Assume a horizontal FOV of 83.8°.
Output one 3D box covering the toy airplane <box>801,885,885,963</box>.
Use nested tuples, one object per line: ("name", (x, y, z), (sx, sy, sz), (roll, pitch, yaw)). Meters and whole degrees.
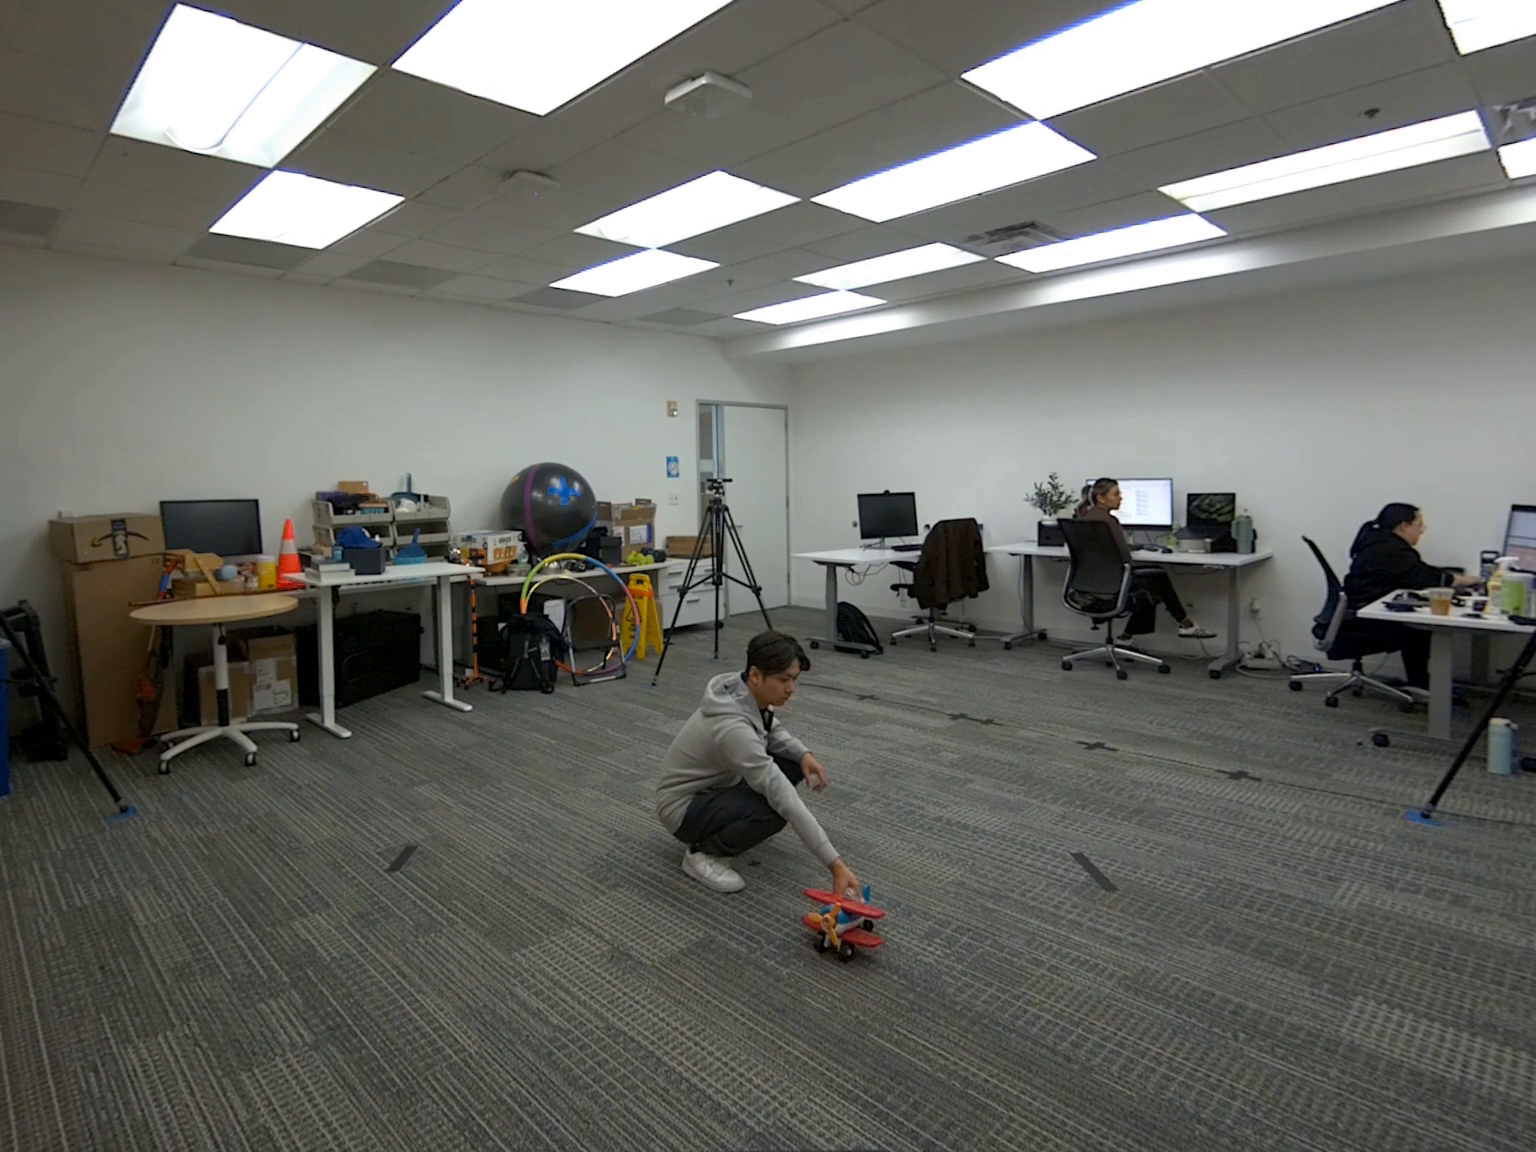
("toy airplane", (0.225, 1.031, 2.575), (0.253, 0.155, 0.259), (0, 7, 7))
